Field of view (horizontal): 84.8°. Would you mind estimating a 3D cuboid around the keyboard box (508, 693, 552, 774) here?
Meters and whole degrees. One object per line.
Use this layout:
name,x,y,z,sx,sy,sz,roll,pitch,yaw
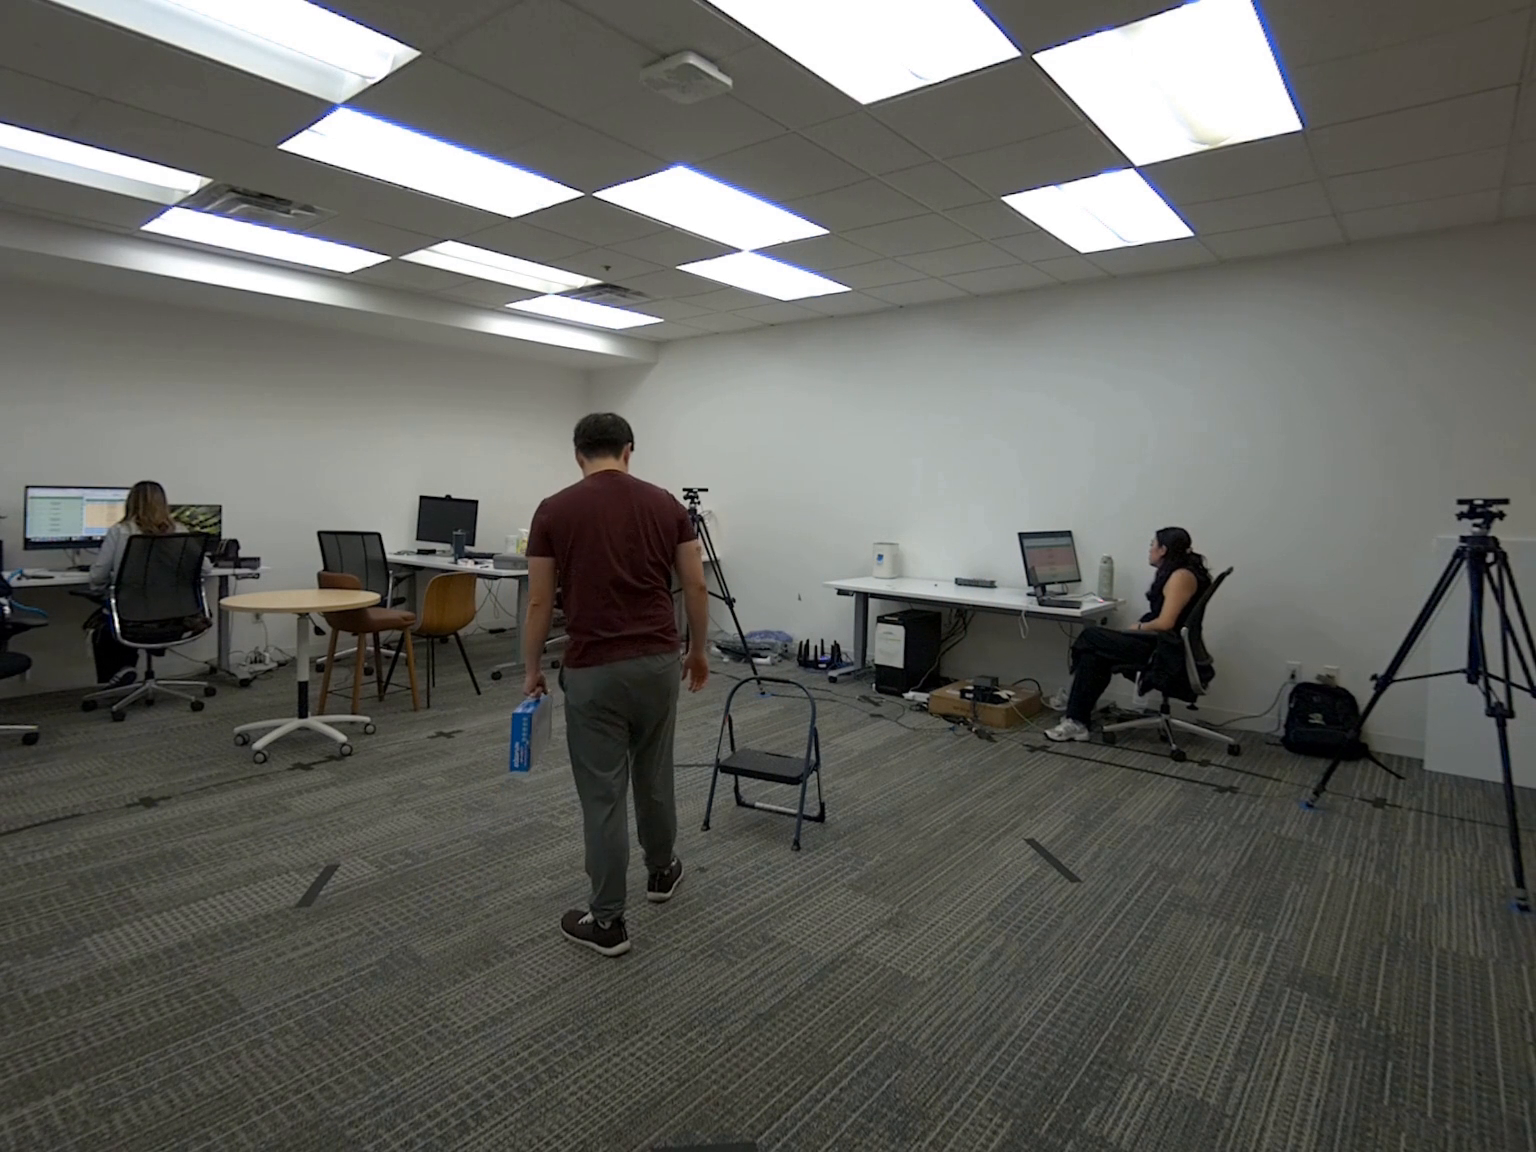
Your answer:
keyboard box,-0.756,0.474,2.703,0.059,0.176,0.439,3,1,-7
